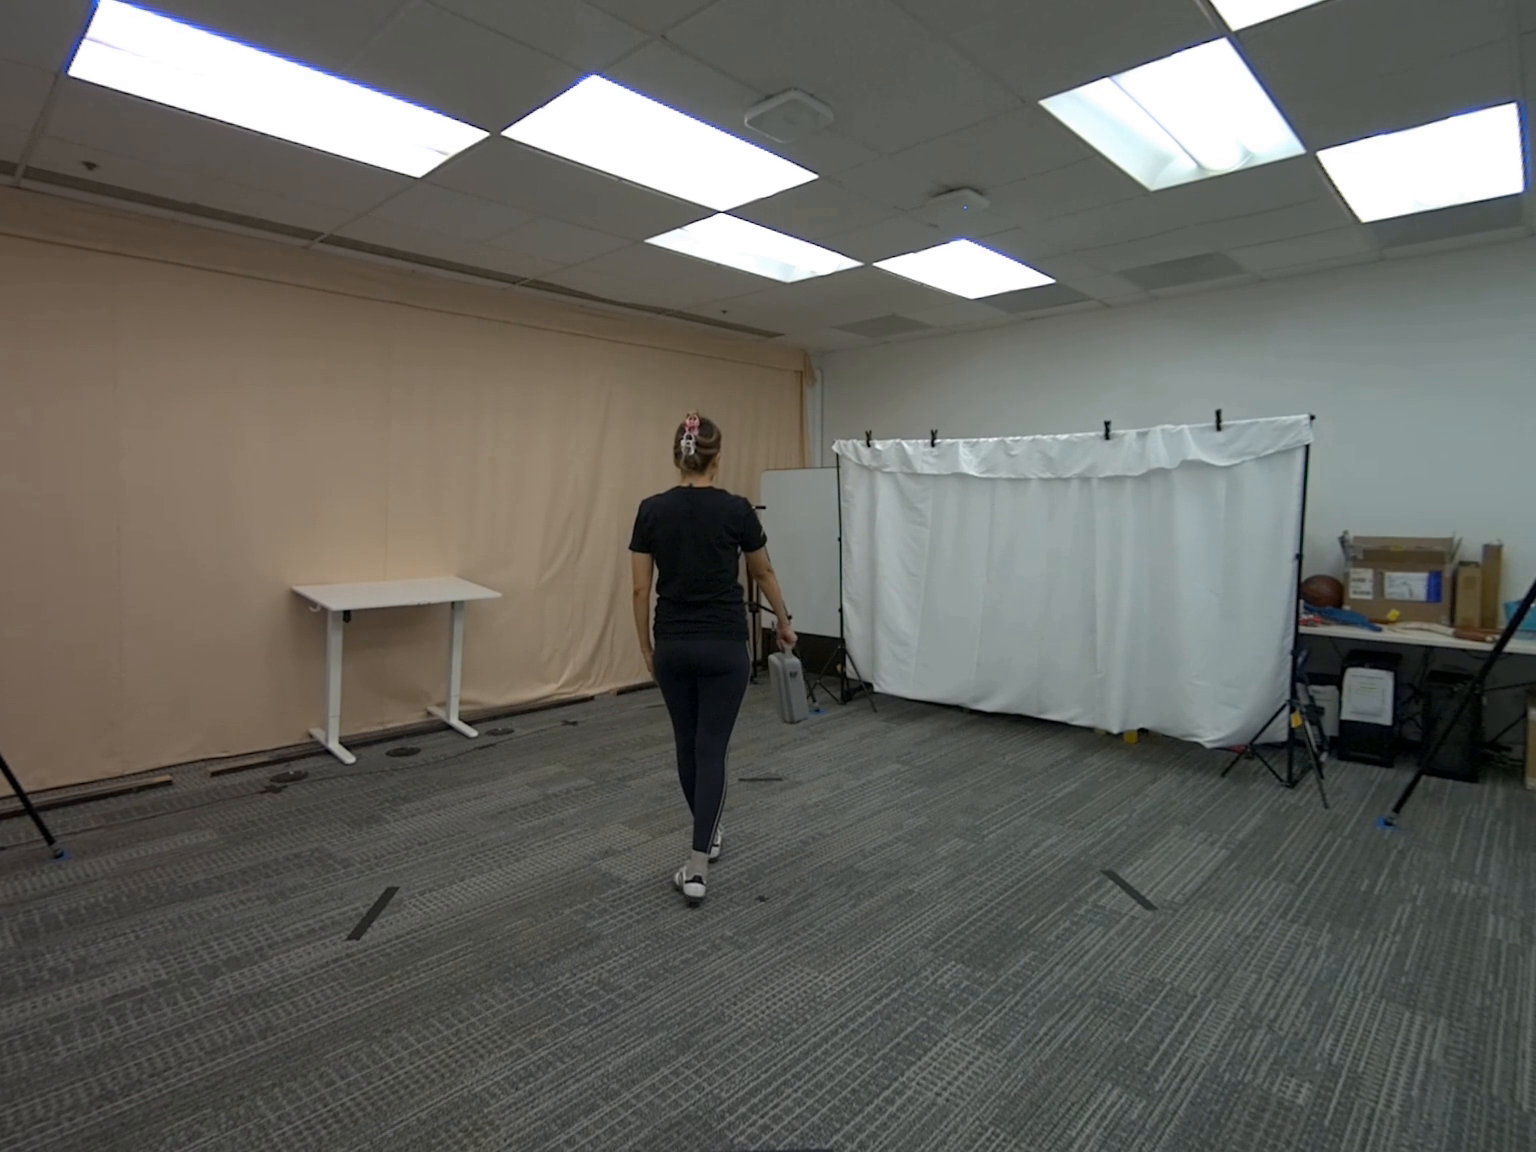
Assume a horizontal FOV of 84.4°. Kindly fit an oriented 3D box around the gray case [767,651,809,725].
[{"bbox_3d":[0.080,0.437,3.396,0.104,0.260,0.258,-8,4,-4],"label":"gray case"}]
